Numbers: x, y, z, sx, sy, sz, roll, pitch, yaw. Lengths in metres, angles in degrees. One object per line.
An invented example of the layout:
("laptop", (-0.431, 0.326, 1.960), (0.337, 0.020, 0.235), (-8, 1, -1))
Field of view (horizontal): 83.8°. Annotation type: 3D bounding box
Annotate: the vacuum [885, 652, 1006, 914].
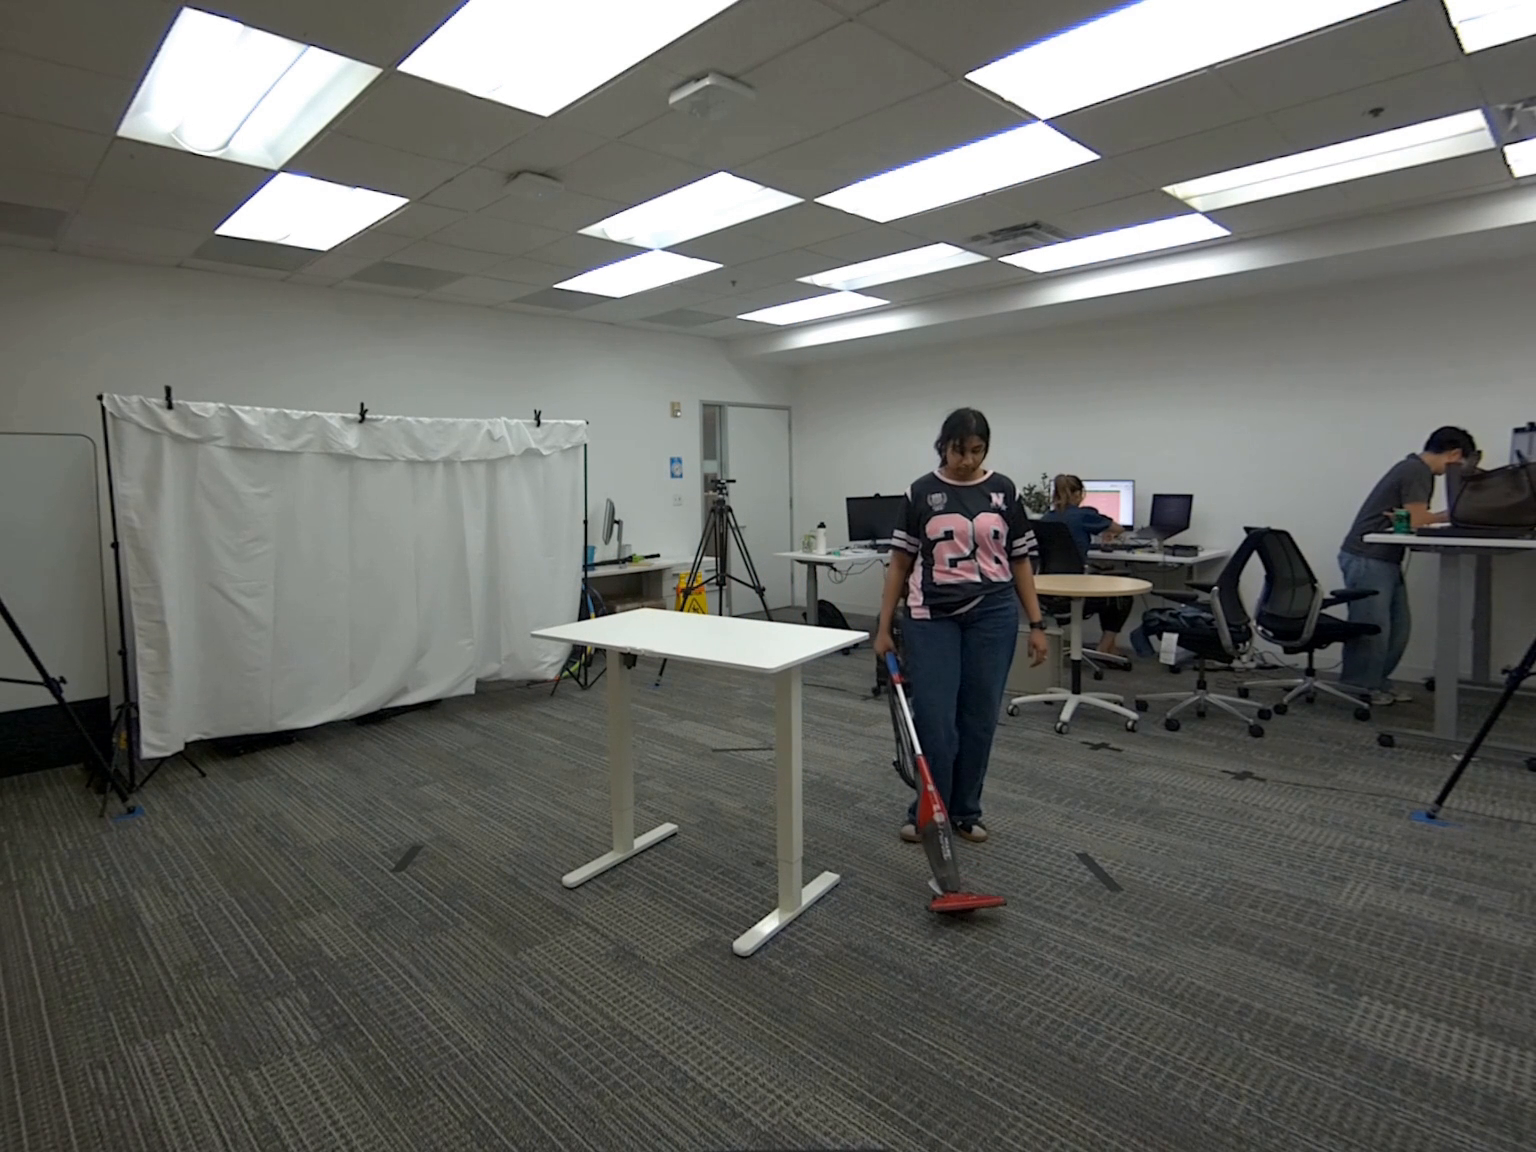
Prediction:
("vacuum", (0.534, 0.668, 3.056), (0.251, 0.140, 1.084), (-5, 47, -8))
